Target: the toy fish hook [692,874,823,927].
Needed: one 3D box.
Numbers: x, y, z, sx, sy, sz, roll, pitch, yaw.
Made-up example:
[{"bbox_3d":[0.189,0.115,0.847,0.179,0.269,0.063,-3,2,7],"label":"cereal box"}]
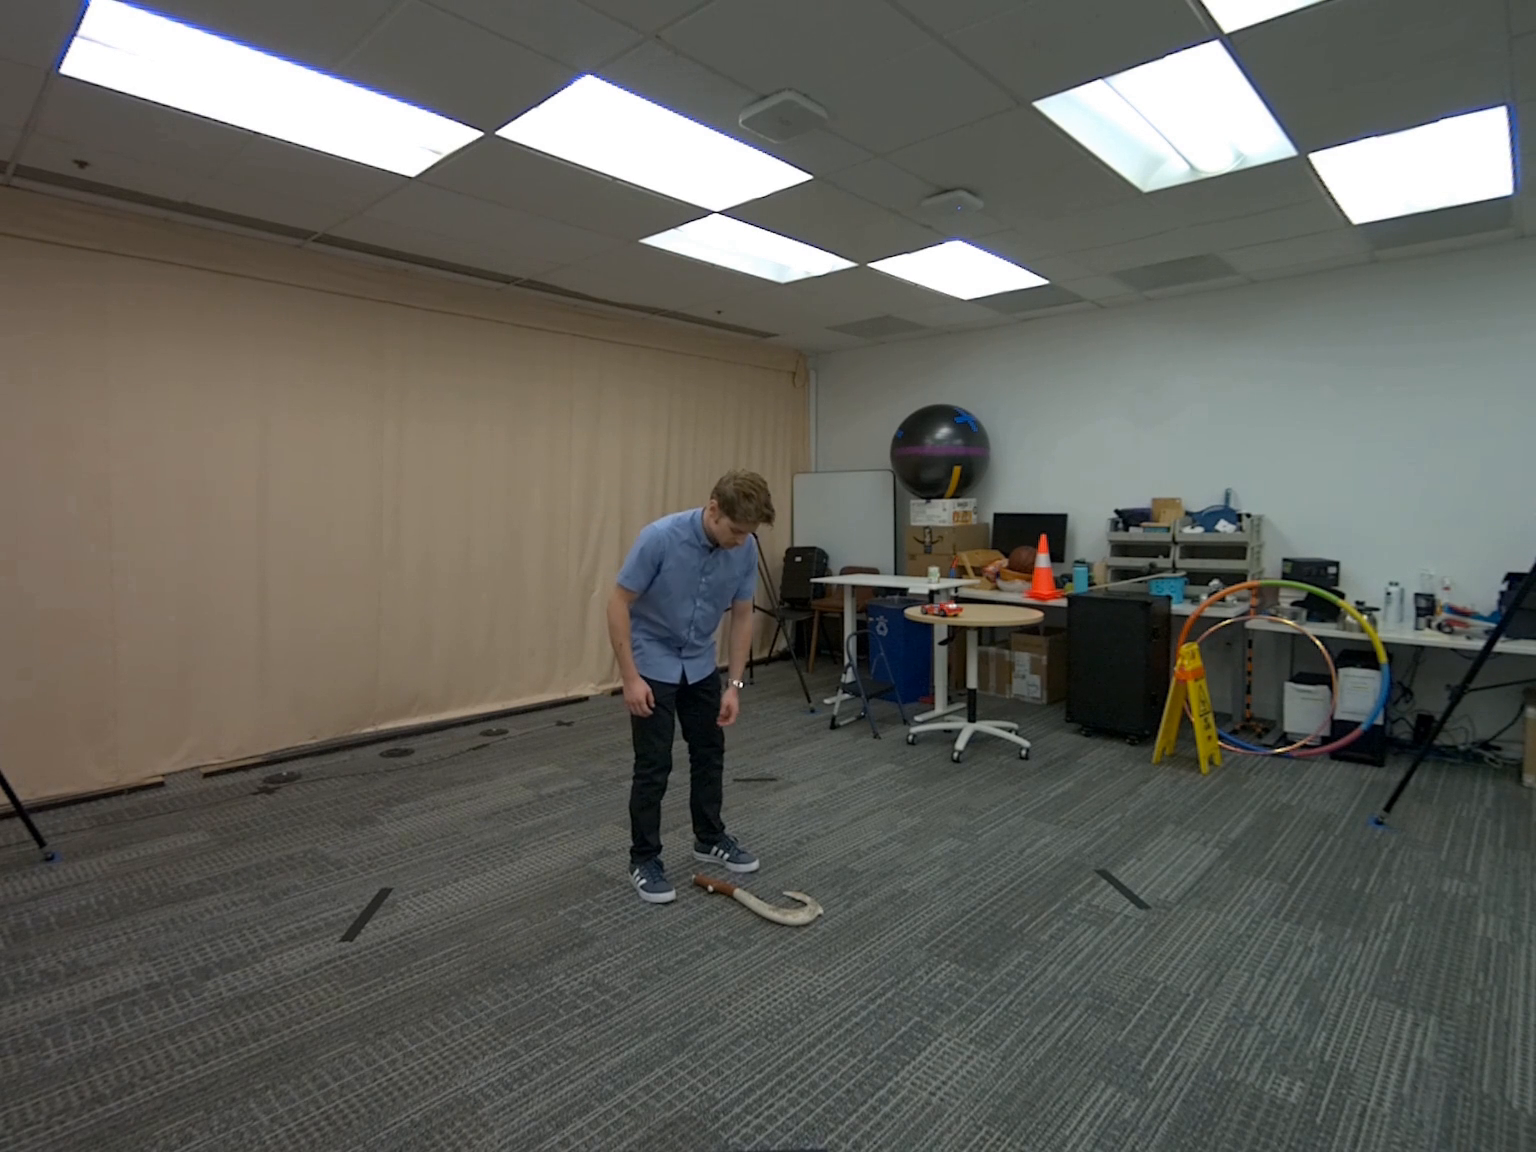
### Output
[{"bbox_3d":[-0.042,1.127,2.982,0.523,0.048,0.217,5,-2,38],"label":"toy fish hook"}]
